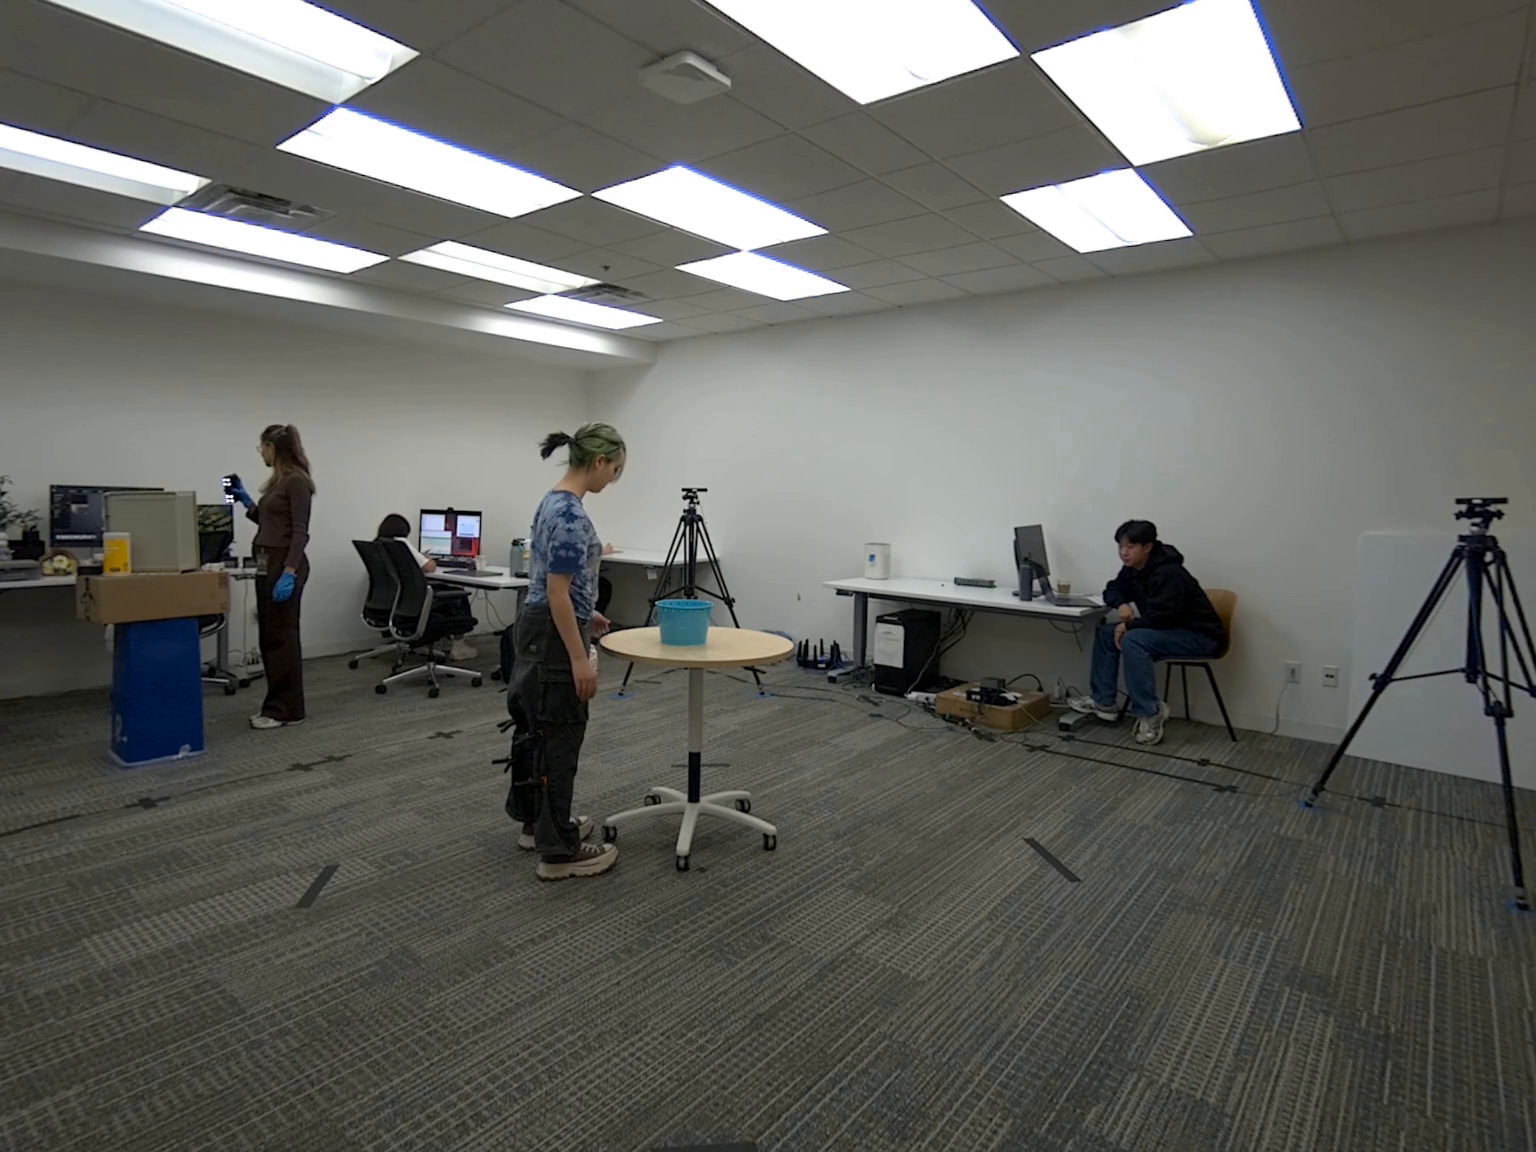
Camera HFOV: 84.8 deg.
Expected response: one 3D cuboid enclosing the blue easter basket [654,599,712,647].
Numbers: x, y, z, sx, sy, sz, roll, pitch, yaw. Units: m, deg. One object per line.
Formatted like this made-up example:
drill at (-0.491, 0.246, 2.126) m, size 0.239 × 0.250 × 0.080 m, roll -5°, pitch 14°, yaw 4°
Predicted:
blue easter basket at (-0.347, 0.185, 3.370) m, size 0.243 × 0.155 × 0.245 m, roll 1°, pitch 6°, yaw -2°
